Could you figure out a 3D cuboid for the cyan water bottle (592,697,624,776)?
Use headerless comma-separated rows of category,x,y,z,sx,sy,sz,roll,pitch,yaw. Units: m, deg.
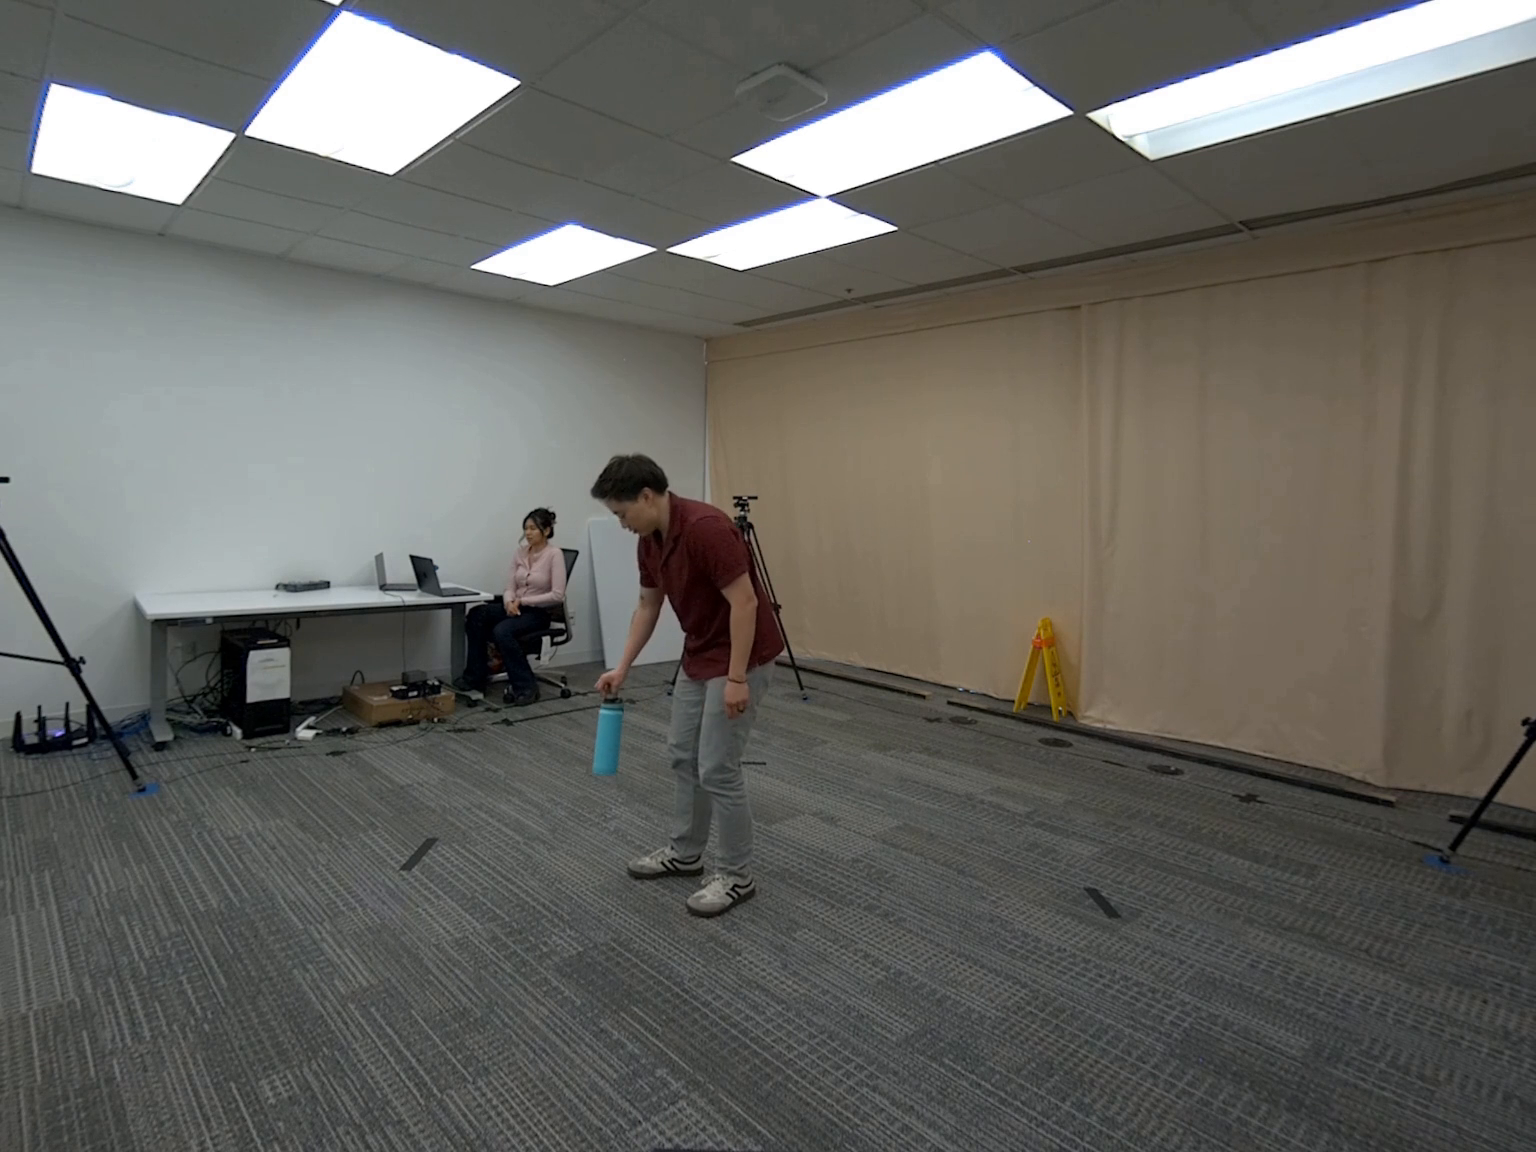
cyan water bottle,-0.576,0.579,3.074,0.092,0.284,0.092,5,-6,-1
